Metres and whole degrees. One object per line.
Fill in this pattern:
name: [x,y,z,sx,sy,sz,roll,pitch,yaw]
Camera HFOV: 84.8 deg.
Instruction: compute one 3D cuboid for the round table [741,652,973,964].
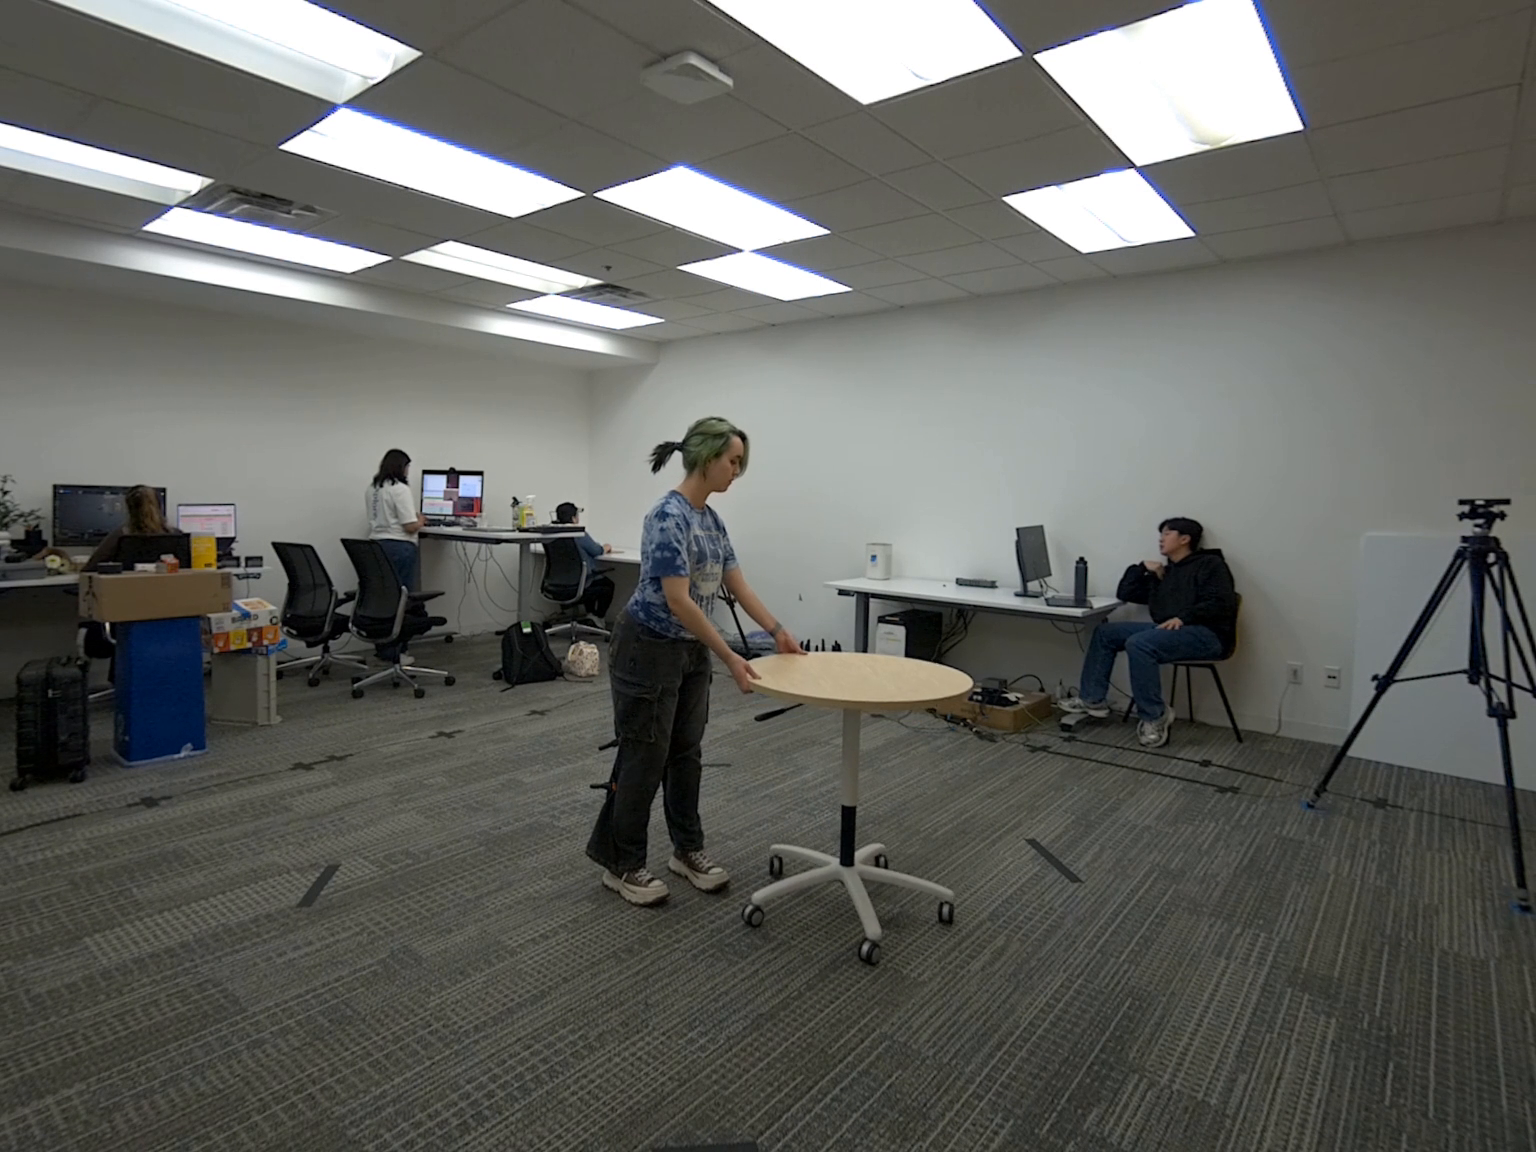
round table: [0.256,0.717,2.843,0.763,0.791,0.768,1,4,-2]
